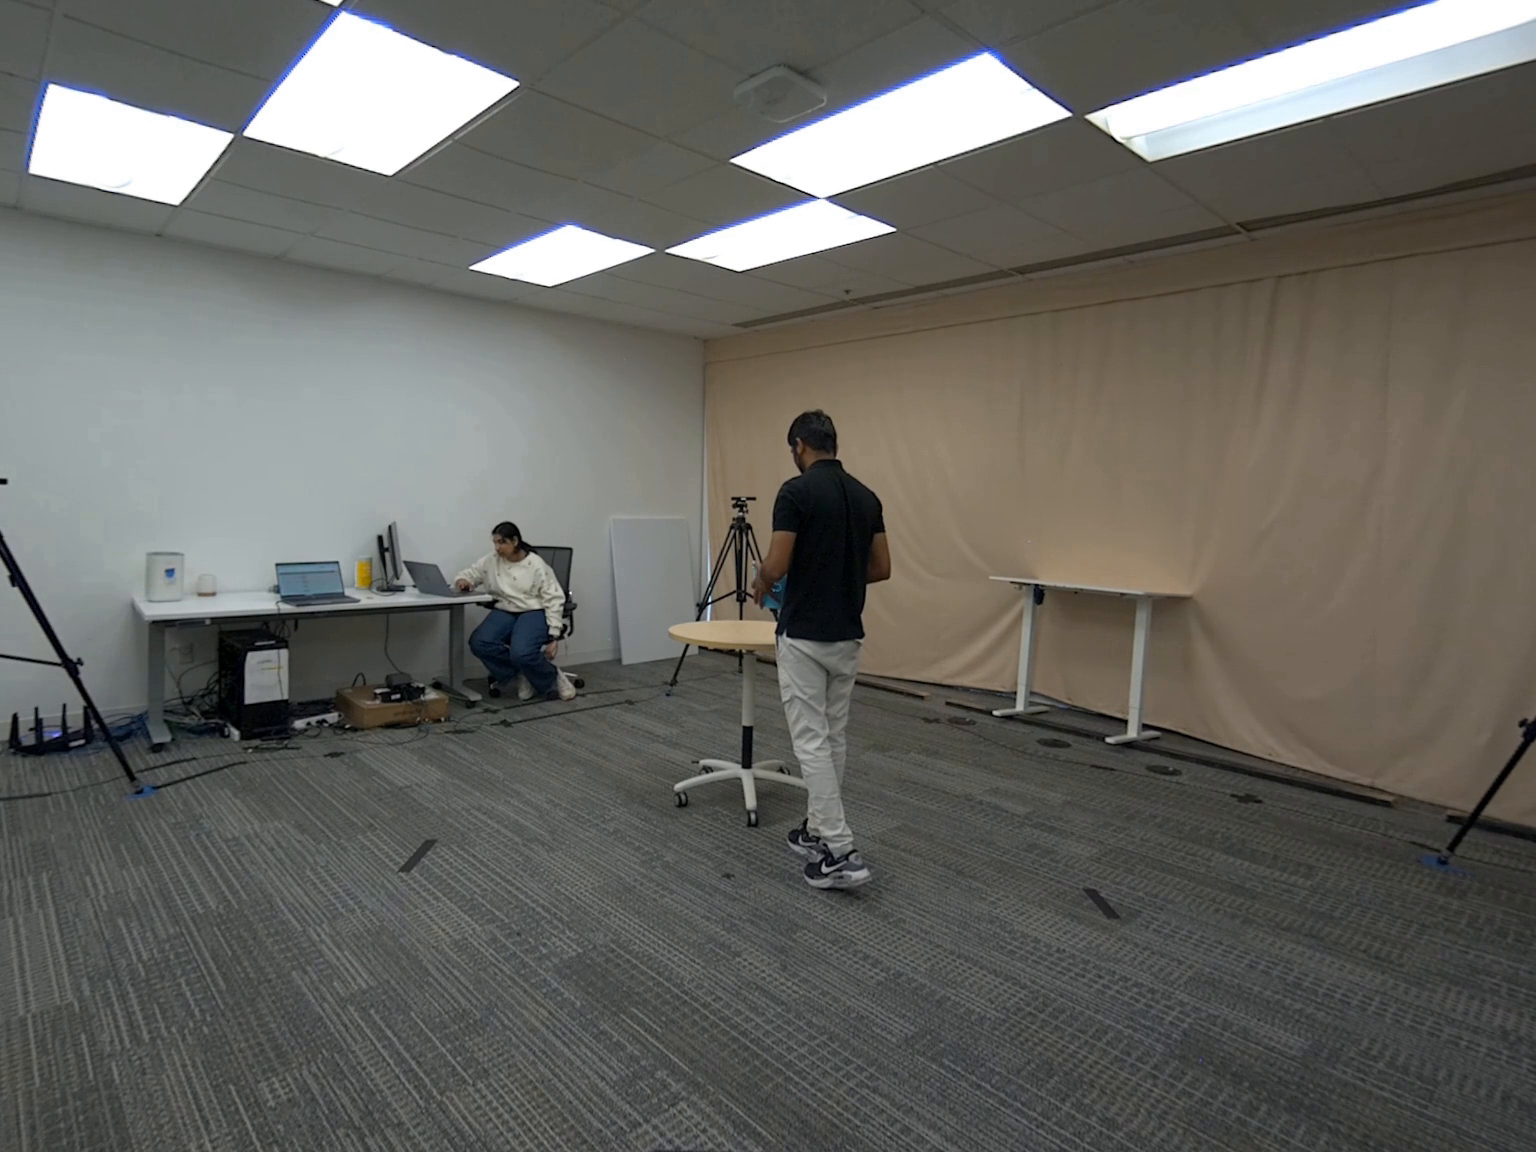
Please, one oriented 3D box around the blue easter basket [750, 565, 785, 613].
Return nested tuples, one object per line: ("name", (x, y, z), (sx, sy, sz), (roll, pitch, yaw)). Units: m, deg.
("blue easter basket", (0.058, 0.055, 3.438), (0.243, 0.155, 0.244), (5, 5, -2))
